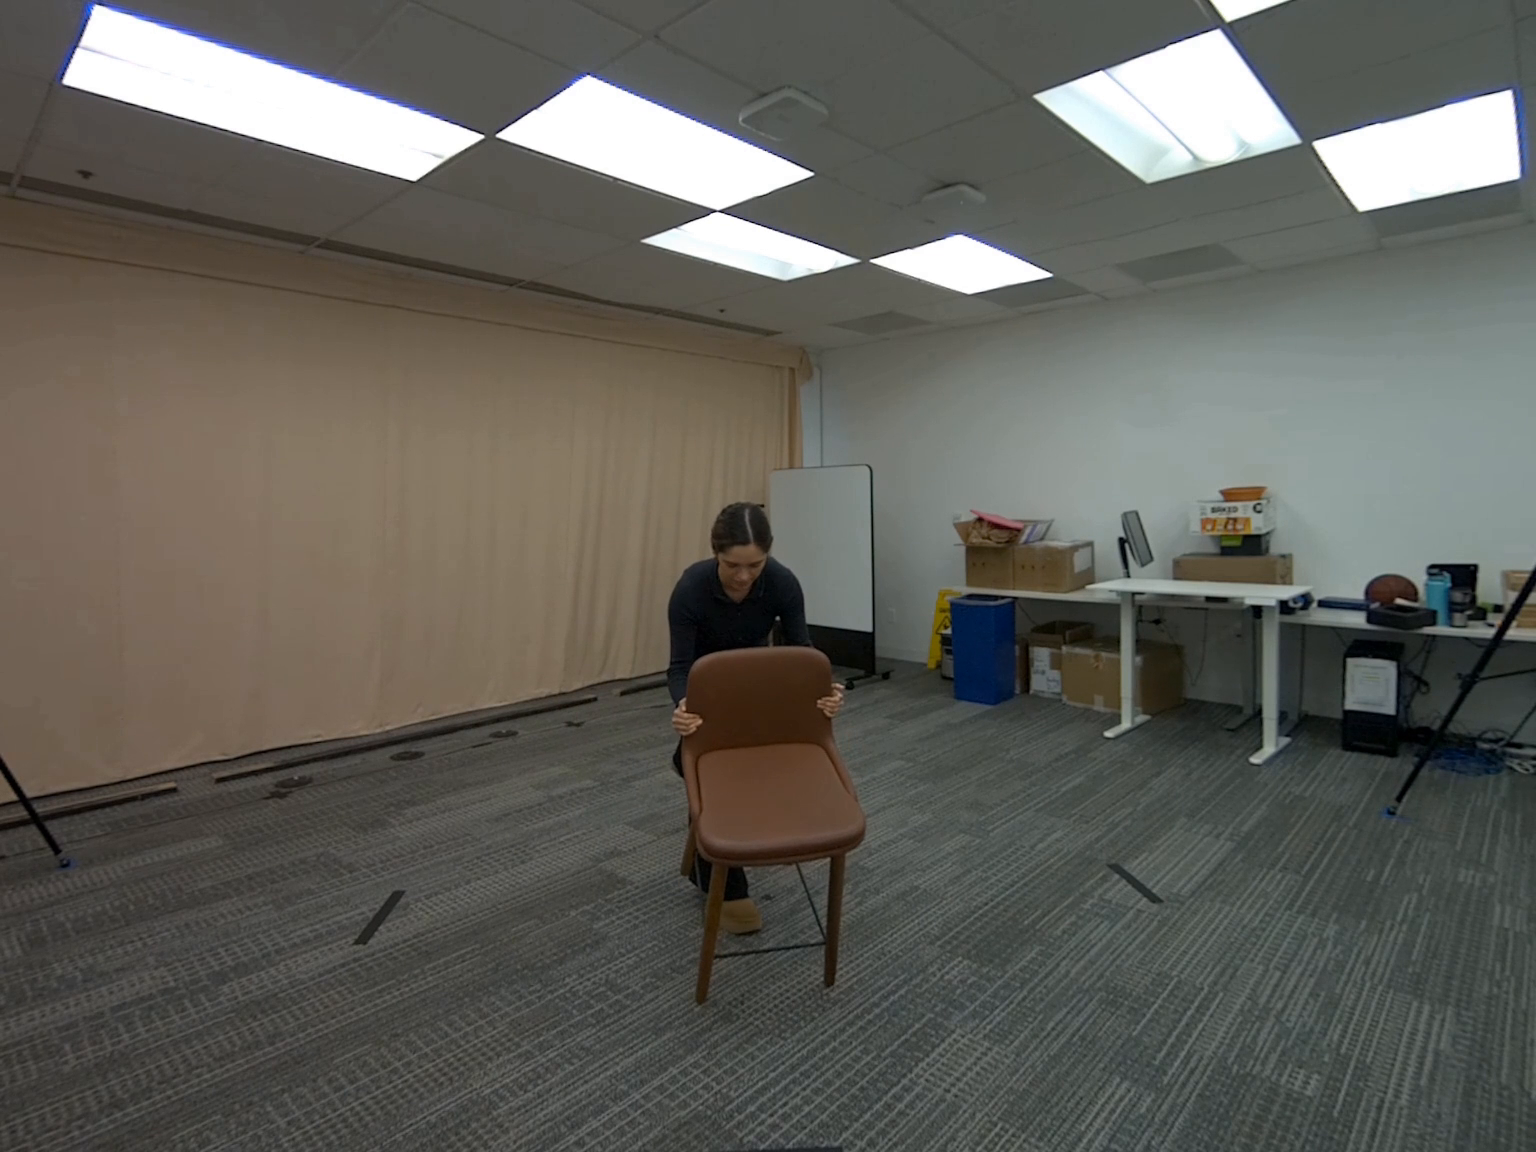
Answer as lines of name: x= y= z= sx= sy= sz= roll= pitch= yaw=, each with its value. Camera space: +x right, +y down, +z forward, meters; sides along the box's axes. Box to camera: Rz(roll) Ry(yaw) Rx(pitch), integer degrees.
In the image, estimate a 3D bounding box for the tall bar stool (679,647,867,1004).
tall bar stool: x=-0.007 y=0.696 z=2.370 sx=0.450 sy=0.878 sz=0.480 roll=-1 pitch=30 yaw=-14
